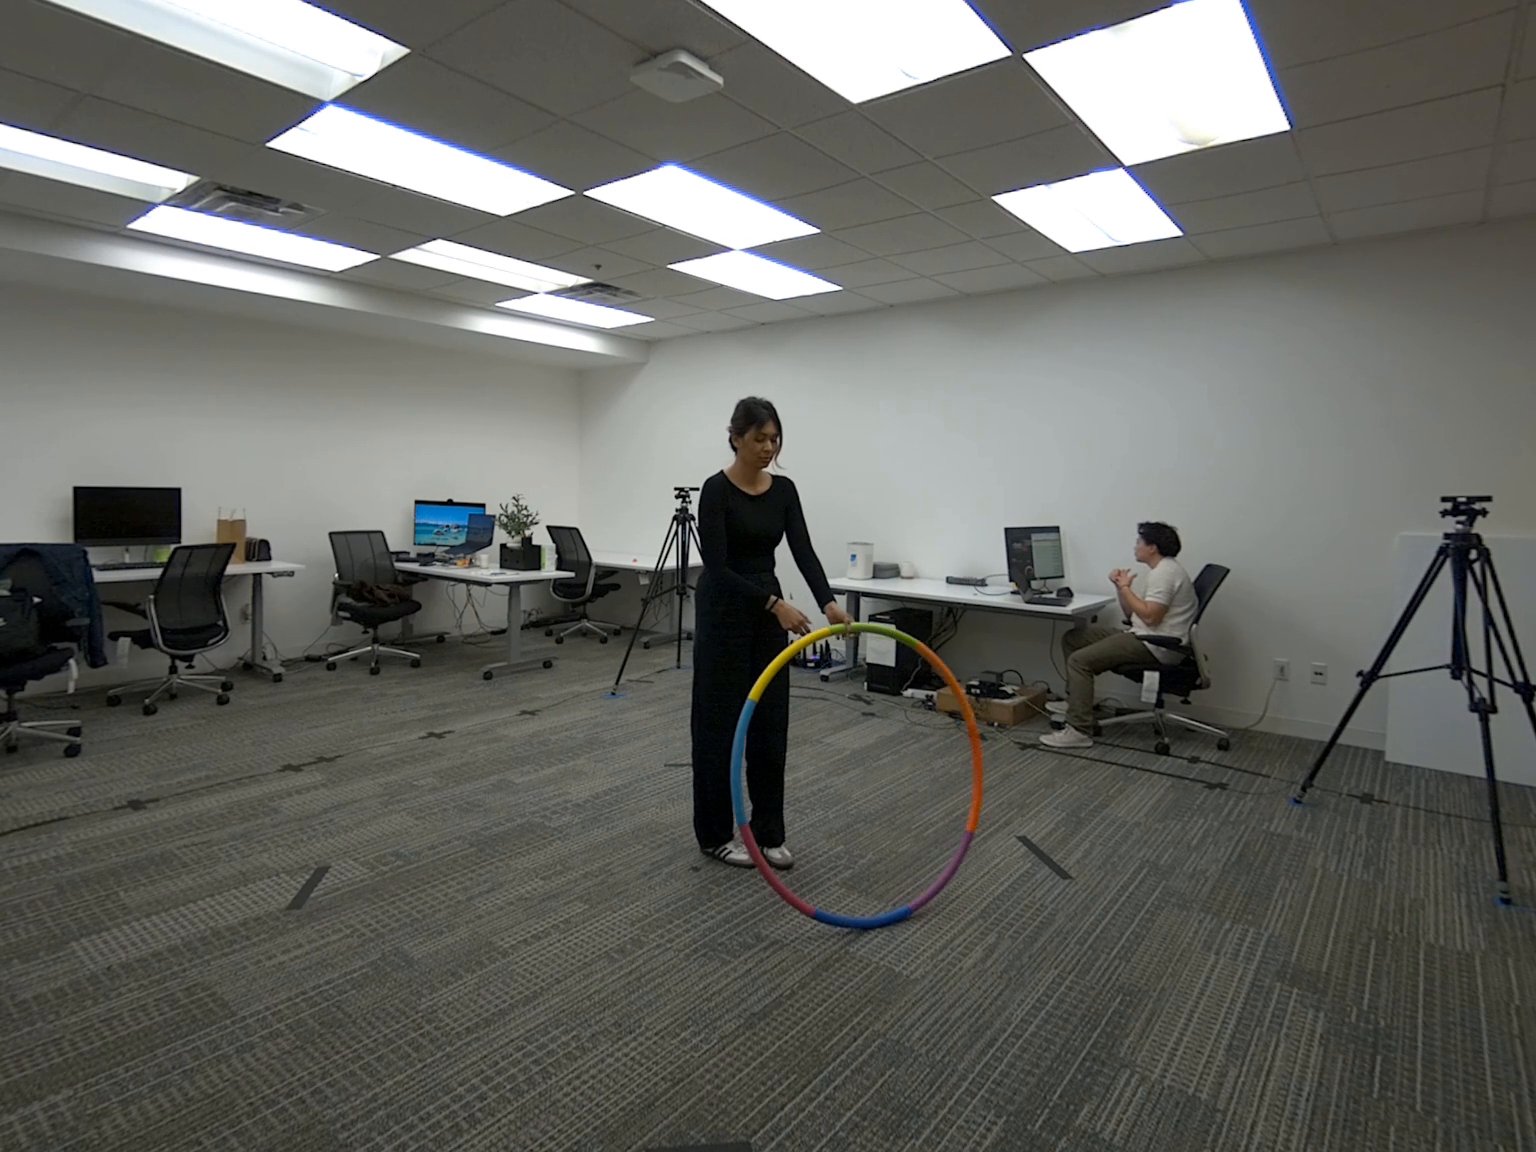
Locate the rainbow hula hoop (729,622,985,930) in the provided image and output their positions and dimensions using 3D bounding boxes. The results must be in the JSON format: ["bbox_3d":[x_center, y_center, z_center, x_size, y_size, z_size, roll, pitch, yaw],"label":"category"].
[{"bbox_3d":[0.318,0.638,2.811,0.954,0.990,0.036,-2,-12,-27],"label":"rainbow hula hoop"}]
